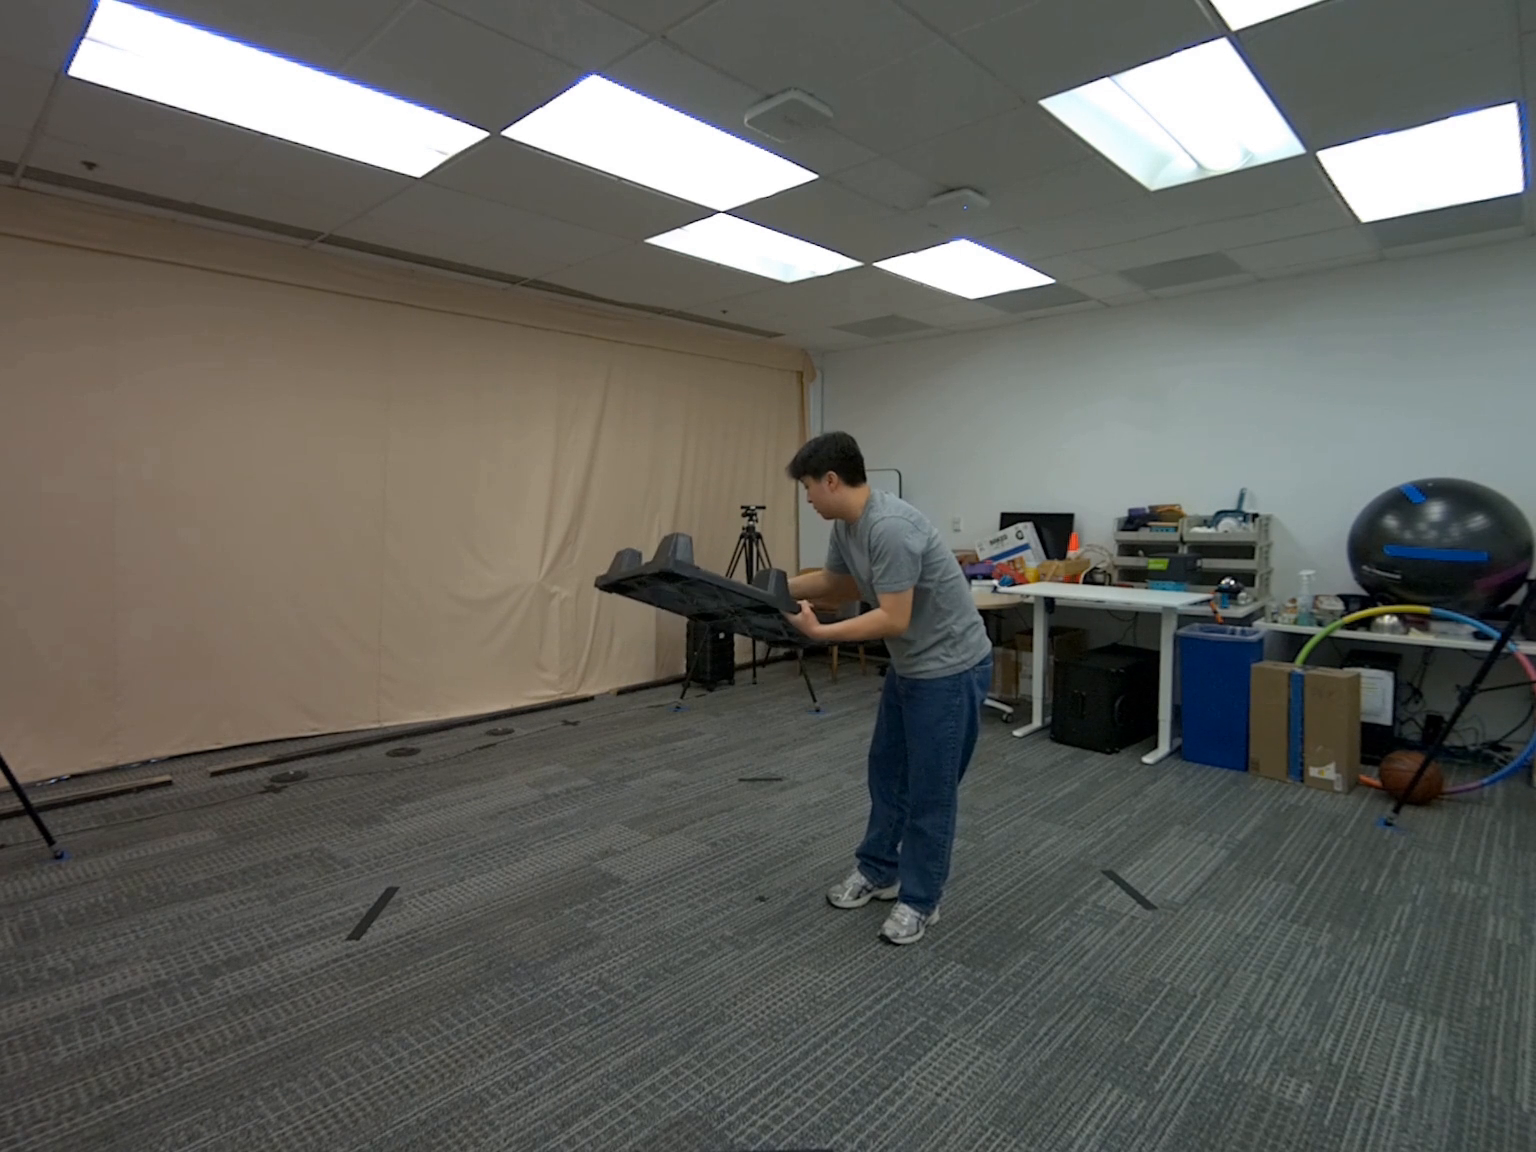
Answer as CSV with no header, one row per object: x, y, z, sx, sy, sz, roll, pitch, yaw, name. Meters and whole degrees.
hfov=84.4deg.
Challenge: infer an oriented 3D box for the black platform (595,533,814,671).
-0.099,0.097,2.786,0.782,0.144,0.619,21,-18,-27,black platform
